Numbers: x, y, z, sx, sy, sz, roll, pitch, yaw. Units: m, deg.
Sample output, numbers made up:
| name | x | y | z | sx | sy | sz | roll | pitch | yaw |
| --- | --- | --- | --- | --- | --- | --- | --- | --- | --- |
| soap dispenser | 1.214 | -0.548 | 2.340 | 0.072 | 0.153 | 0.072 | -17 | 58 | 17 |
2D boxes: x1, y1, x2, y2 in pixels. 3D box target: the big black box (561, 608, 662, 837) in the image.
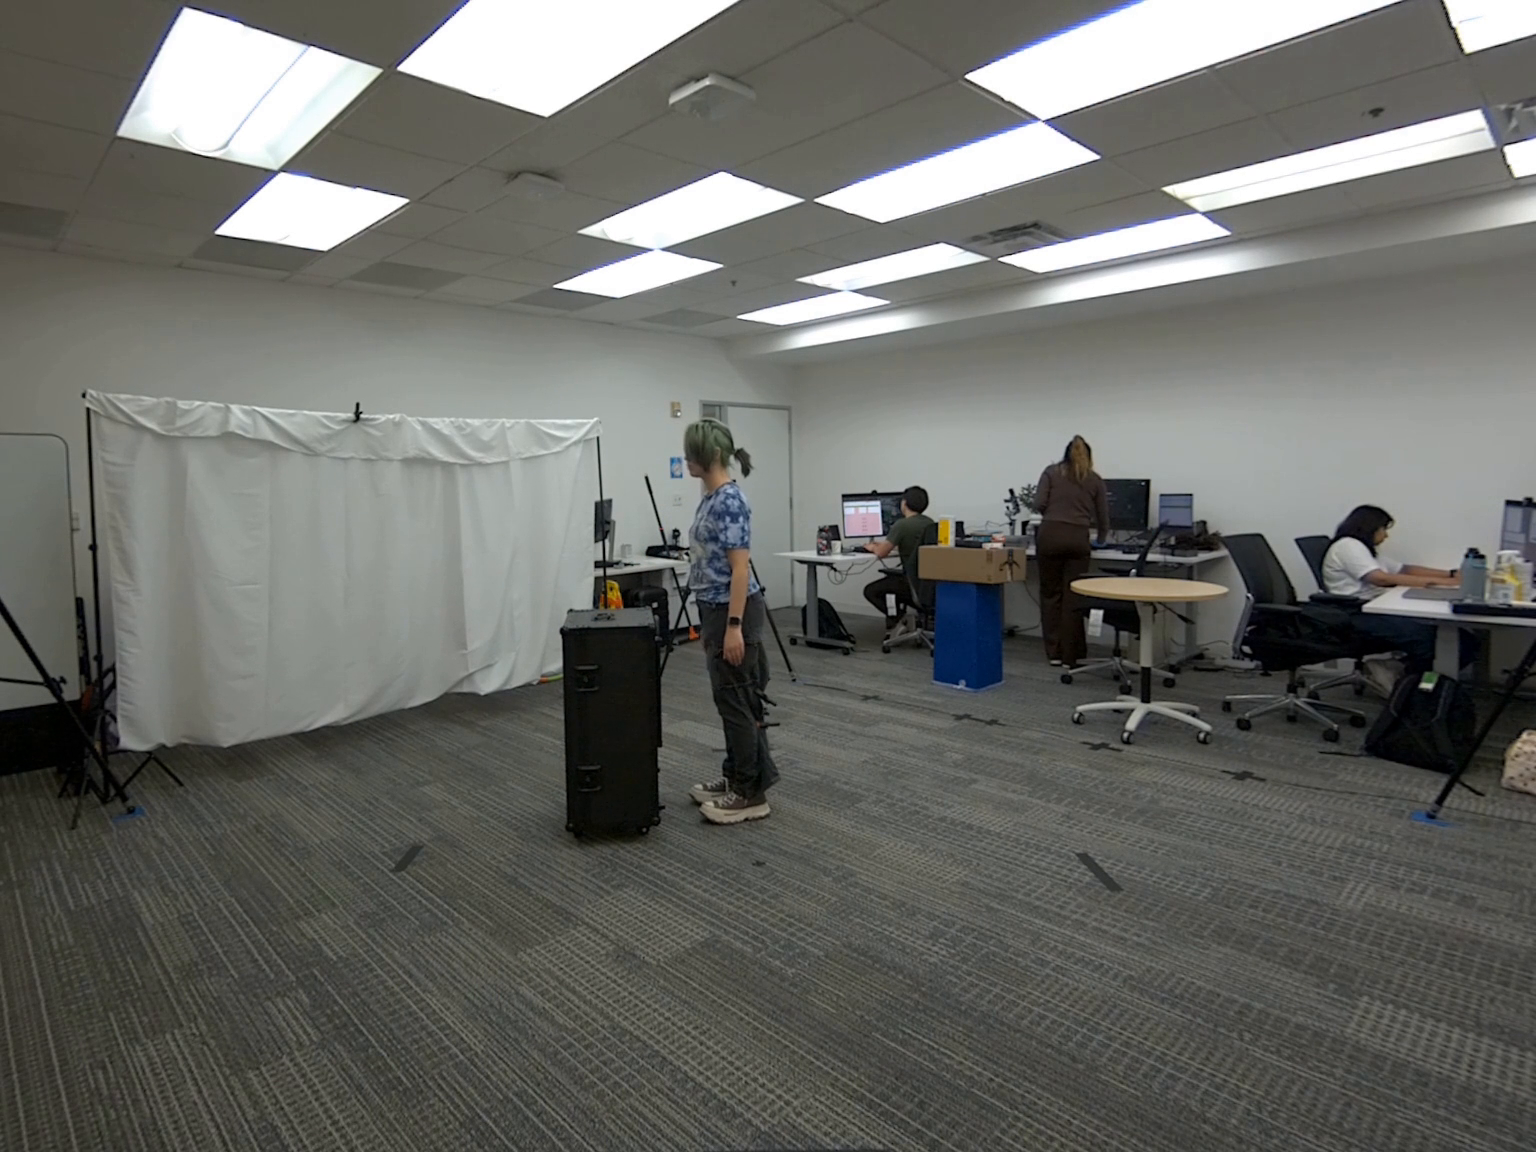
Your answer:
| name | x | y | z | sx | sy | sz | roll | pitch | yaw |
| --- | --- | --- | --- | --- | --- | --- | --- | --- | --- |
| big black box | -0.631 | 0.591 | 3.494 | 0.394 | 0.859 | 0.526 | 0 | 3 | -8 |
